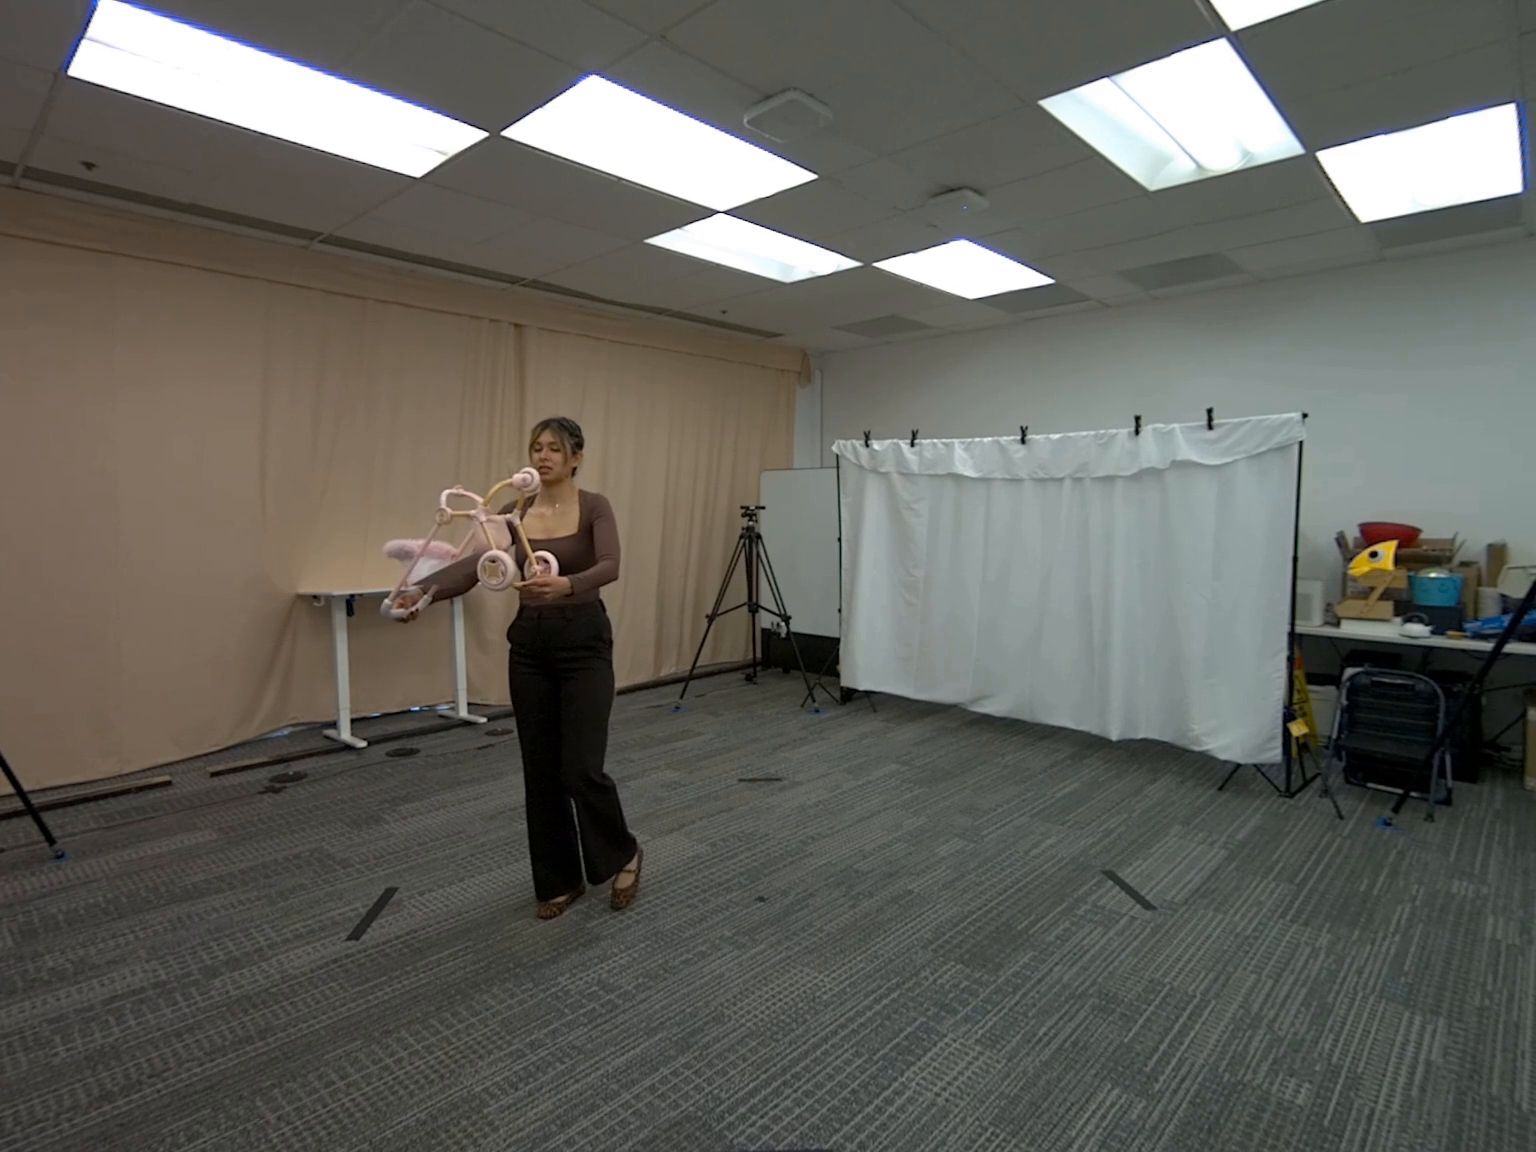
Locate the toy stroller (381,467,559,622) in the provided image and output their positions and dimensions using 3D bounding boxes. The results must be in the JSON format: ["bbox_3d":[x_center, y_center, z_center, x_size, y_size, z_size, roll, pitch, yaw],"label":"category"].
[{"bbox_3d":[-0.856,-0.088,2.403,0.543,0.341,0.277,-12,0,17],"label":"toy stroller"}]
